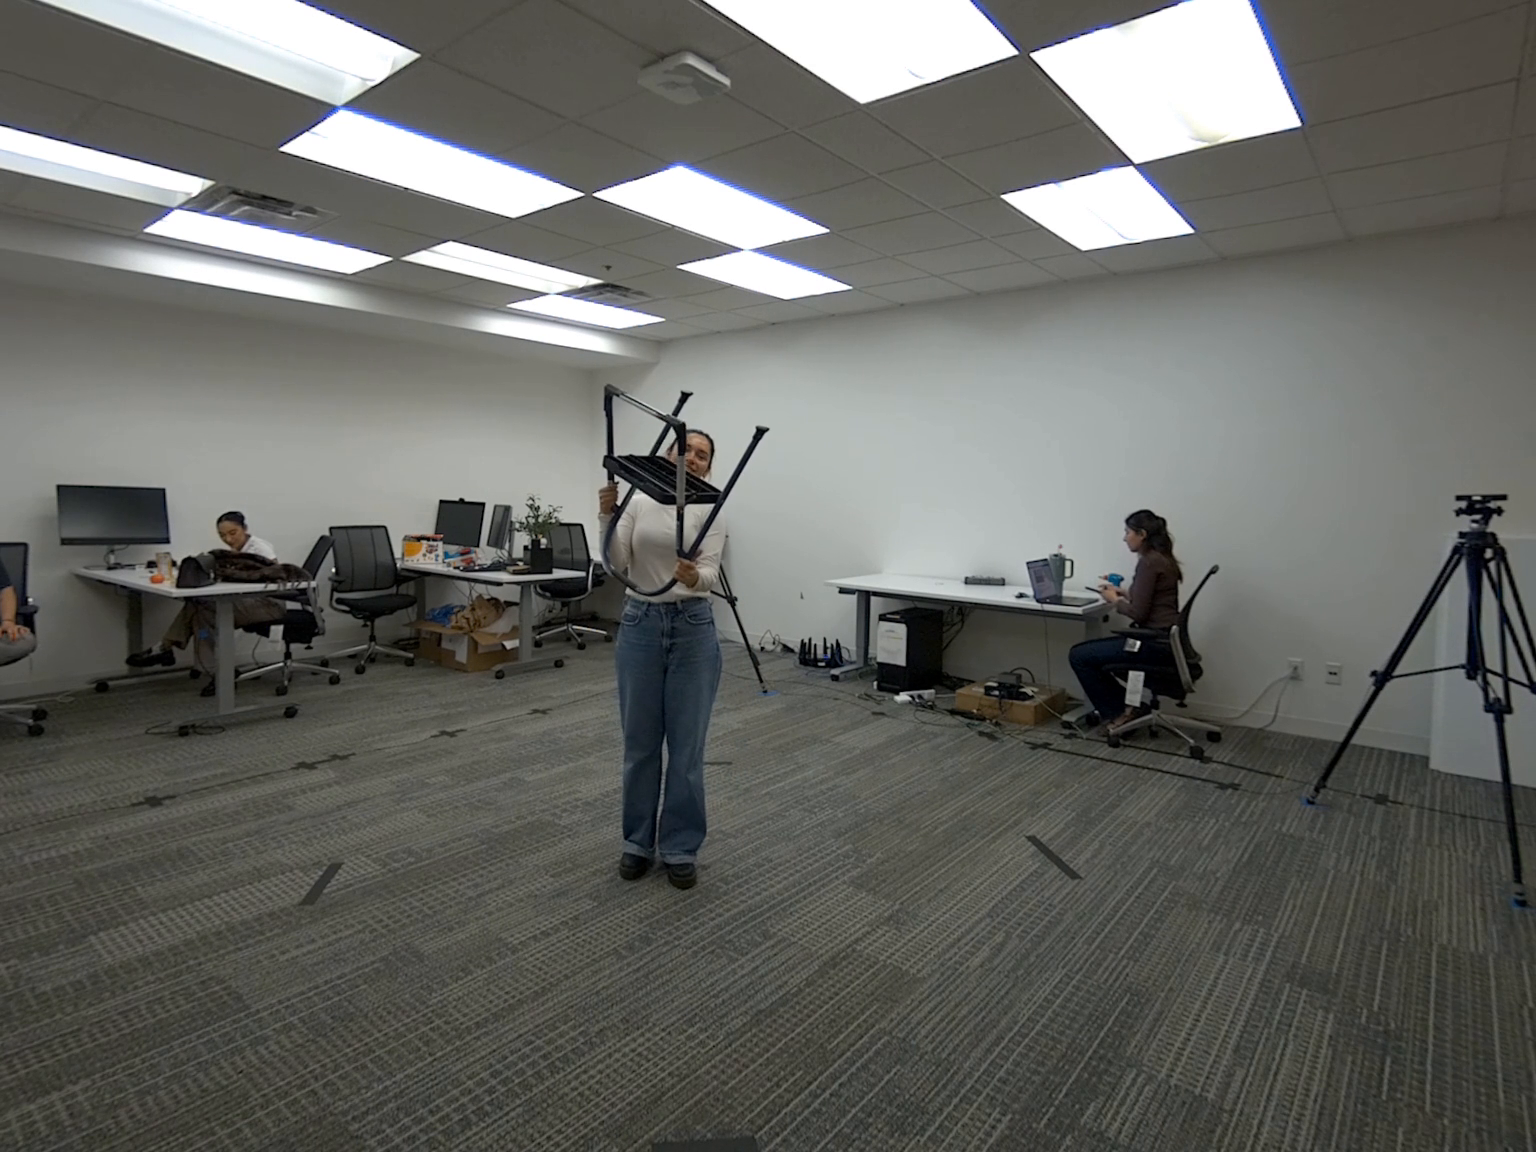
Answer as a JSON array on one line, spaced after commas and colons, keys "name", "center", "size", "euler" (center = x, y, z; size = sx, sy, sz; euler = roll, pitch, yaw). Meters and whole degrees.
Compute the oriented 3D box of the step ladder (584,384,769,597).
[{"name": "step ladder", "center": [-0.340, -0.253, 2.719], "size": [0.339, 0.599, 0.449], "euler": [-2, 25, -43]}]
